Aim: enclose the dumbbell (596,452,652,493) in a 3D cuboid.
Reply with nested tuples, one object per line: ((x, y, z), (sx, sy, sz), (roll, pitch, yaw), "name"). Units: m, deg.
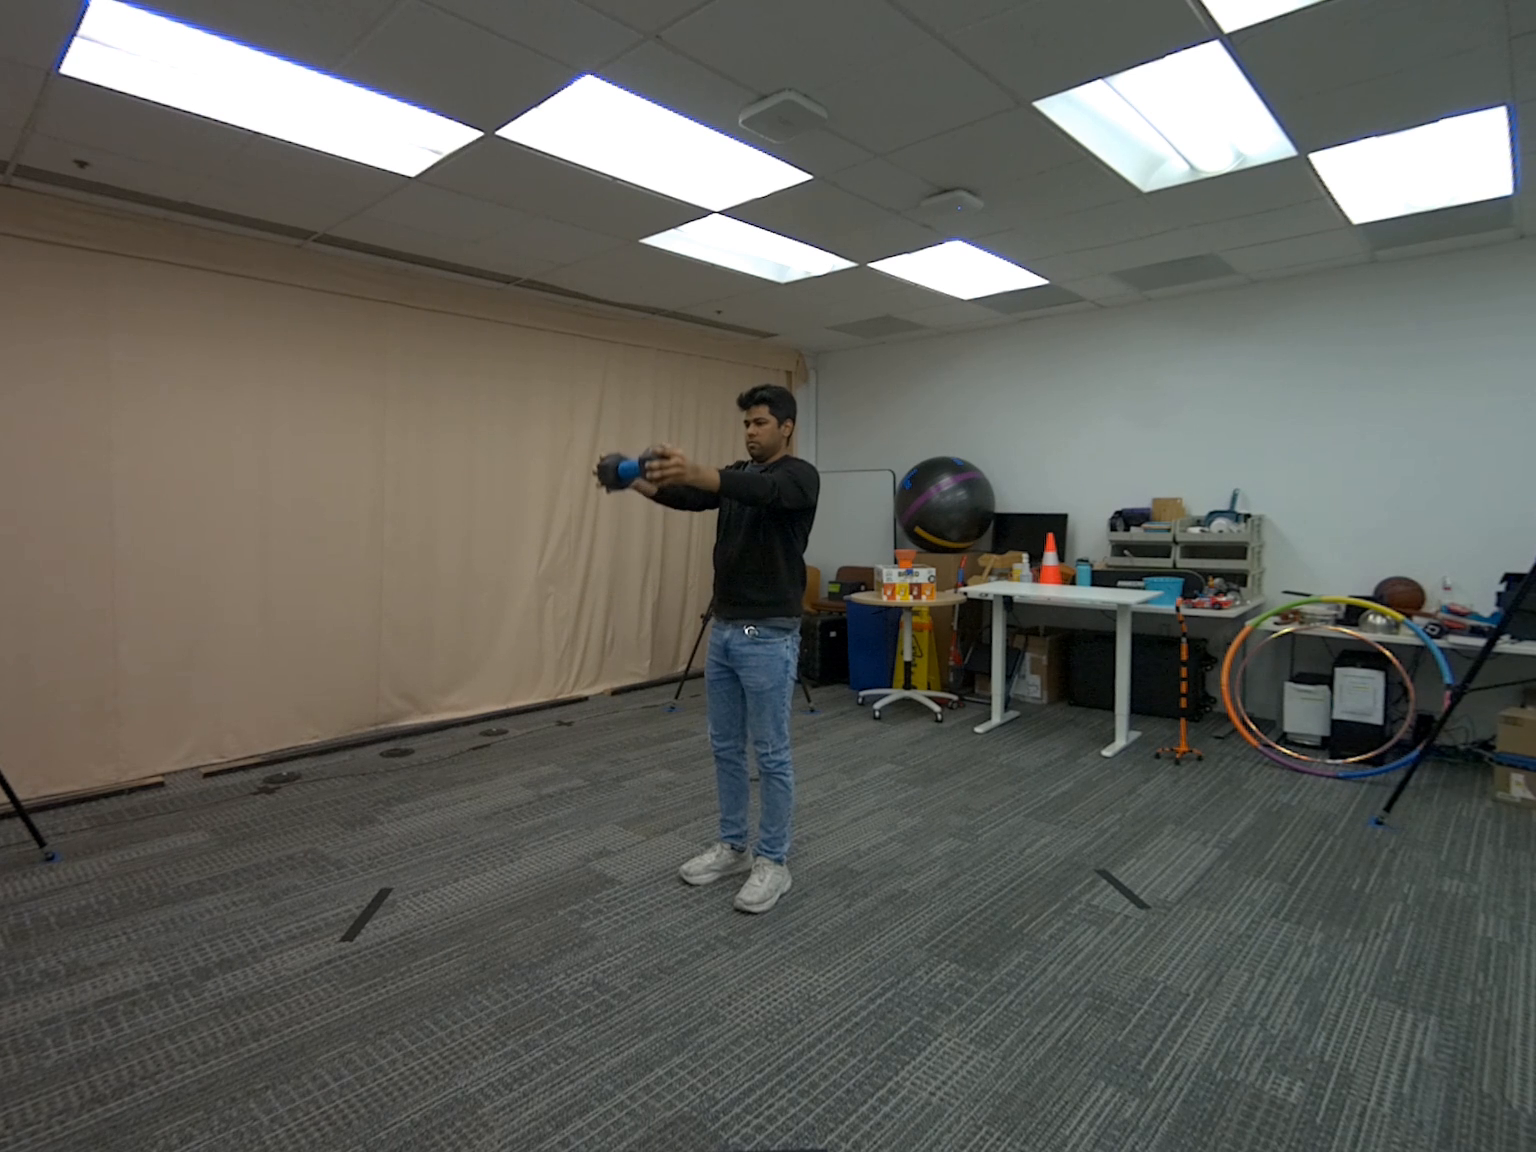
((-0.392, -0.325, 2.652), (0.302, 0.122, 0.106), (-8, 11, 44), "dumbbell")
